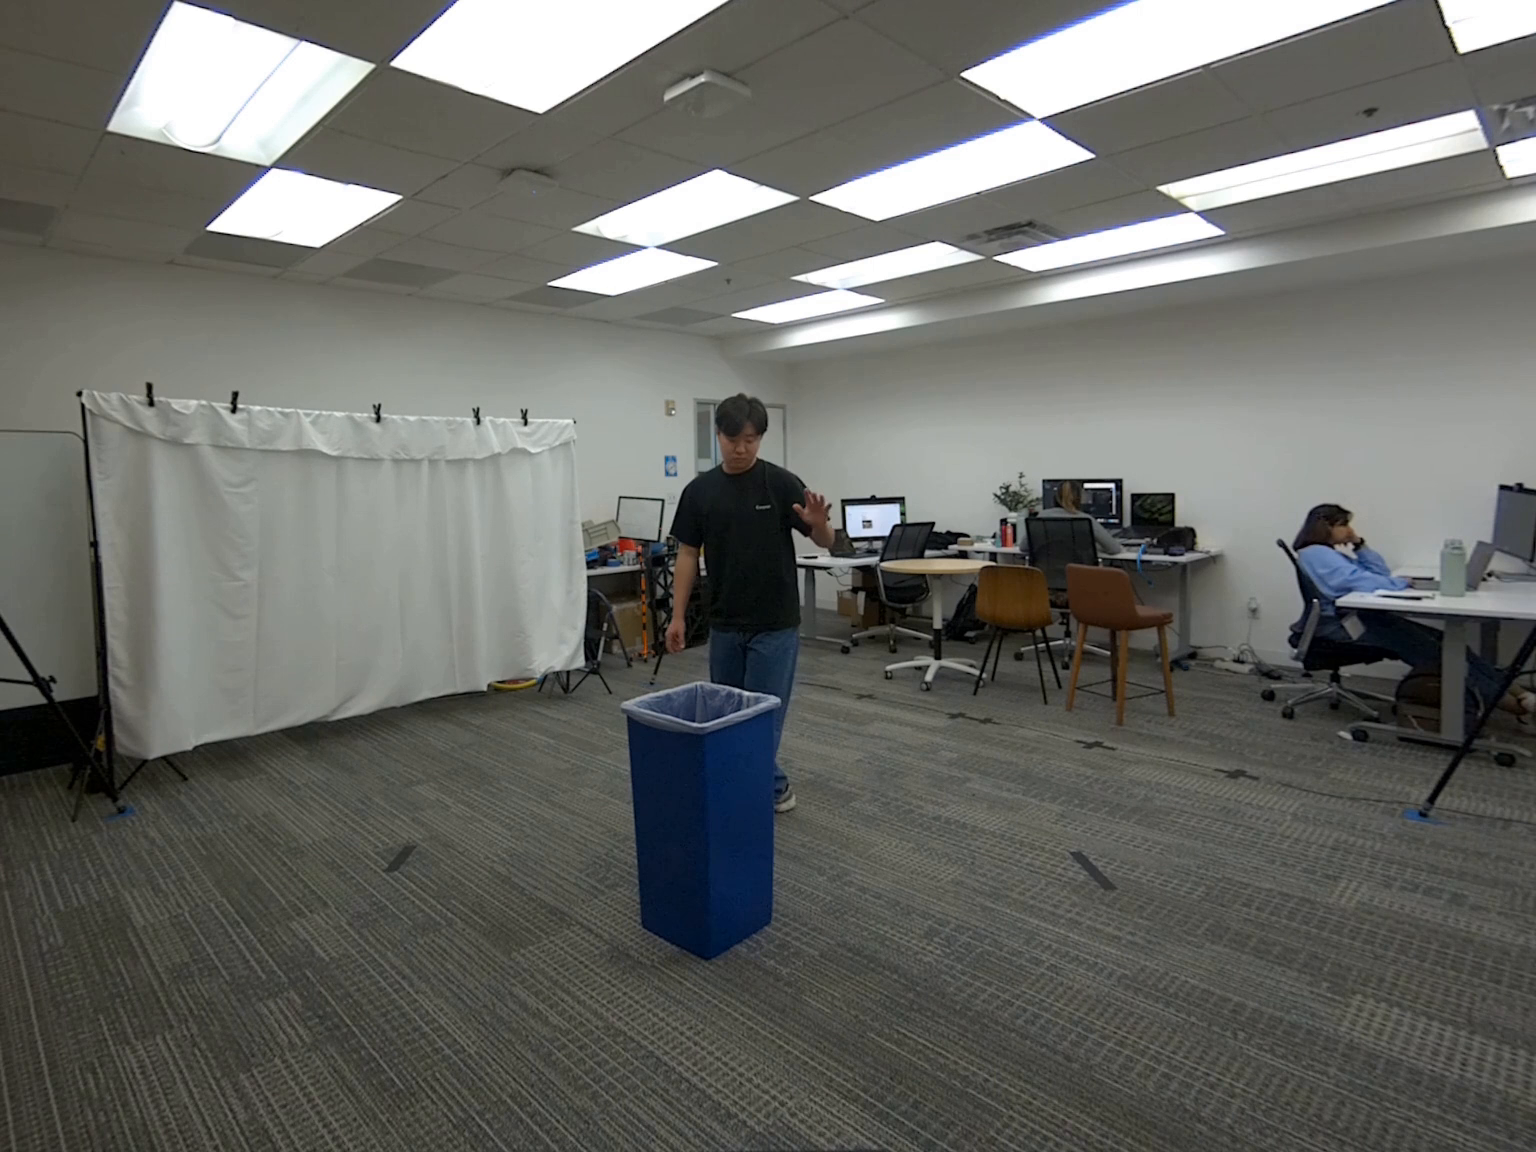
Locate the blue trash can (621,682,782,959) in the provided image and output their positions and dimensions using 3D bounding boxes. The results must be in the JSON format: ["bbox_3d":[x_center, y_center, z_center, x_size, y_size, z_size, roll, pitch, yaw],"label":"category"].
[{"bbox_3d":[-0.198,0.741,2.655,0.389,0.711,0.364,2,5,41],"label":"blue trash can"}]
